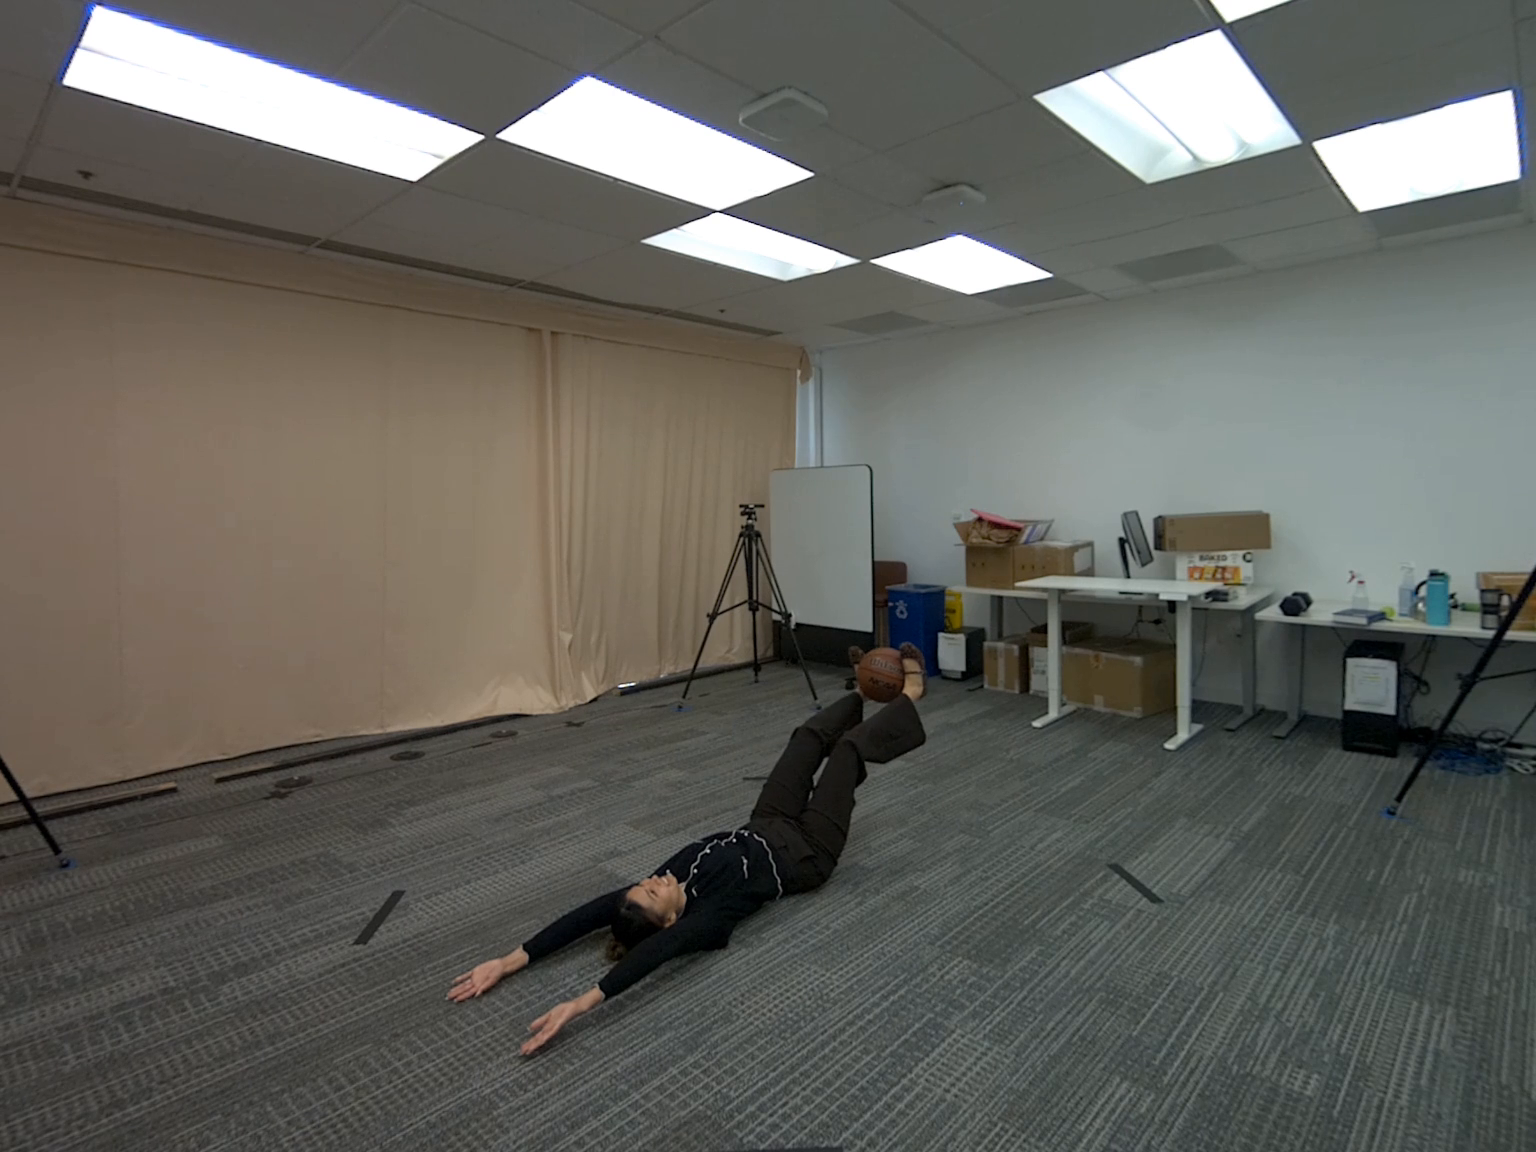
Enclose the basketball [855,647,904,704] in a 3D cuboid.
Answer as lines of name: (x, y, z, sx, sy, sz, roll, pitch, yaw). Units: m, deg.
basketball: (0.506, 0.424, 3.593, 0.236, 0.235, 0.237, -1, 4, -2)
